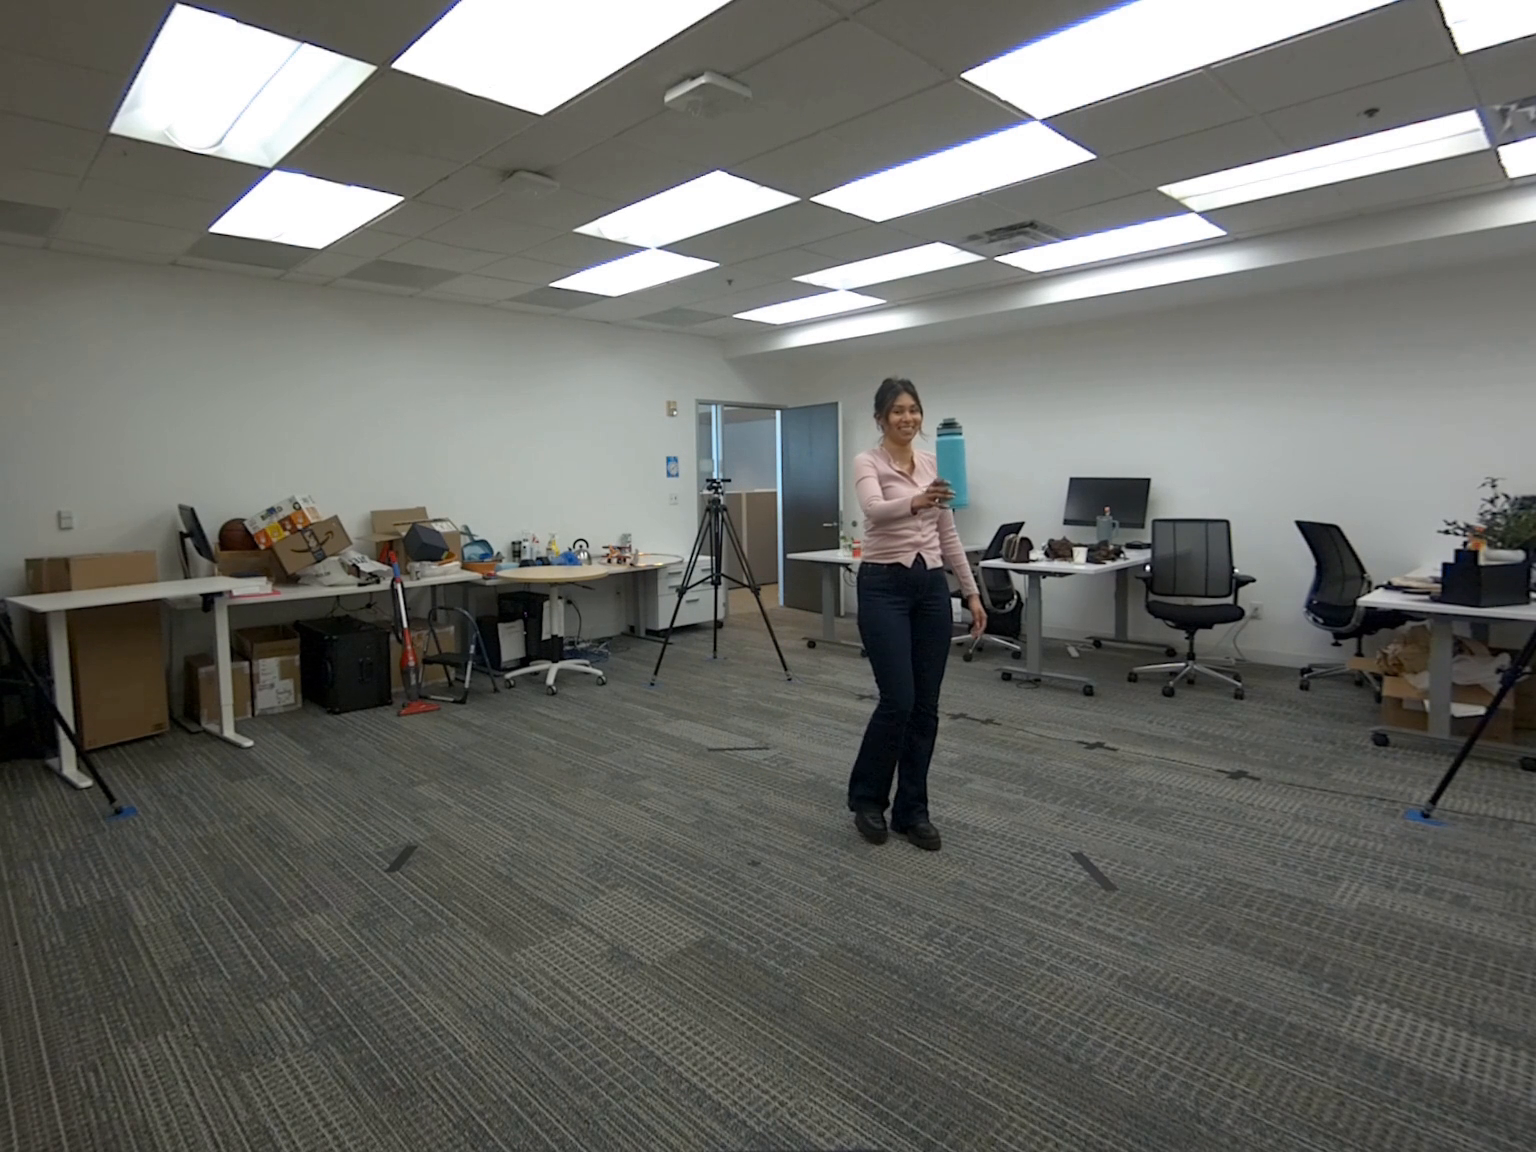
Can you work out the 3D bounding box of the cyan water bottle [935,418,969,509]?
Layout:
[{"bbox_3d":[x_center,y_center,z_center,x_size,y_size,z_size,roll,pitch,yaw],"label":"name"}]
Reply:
[{"bbox_3d":[0.575,-0.355,2.686,0.092,0.284,0.092,-3,-2,-2],"label":"cyan water bottle"}]
